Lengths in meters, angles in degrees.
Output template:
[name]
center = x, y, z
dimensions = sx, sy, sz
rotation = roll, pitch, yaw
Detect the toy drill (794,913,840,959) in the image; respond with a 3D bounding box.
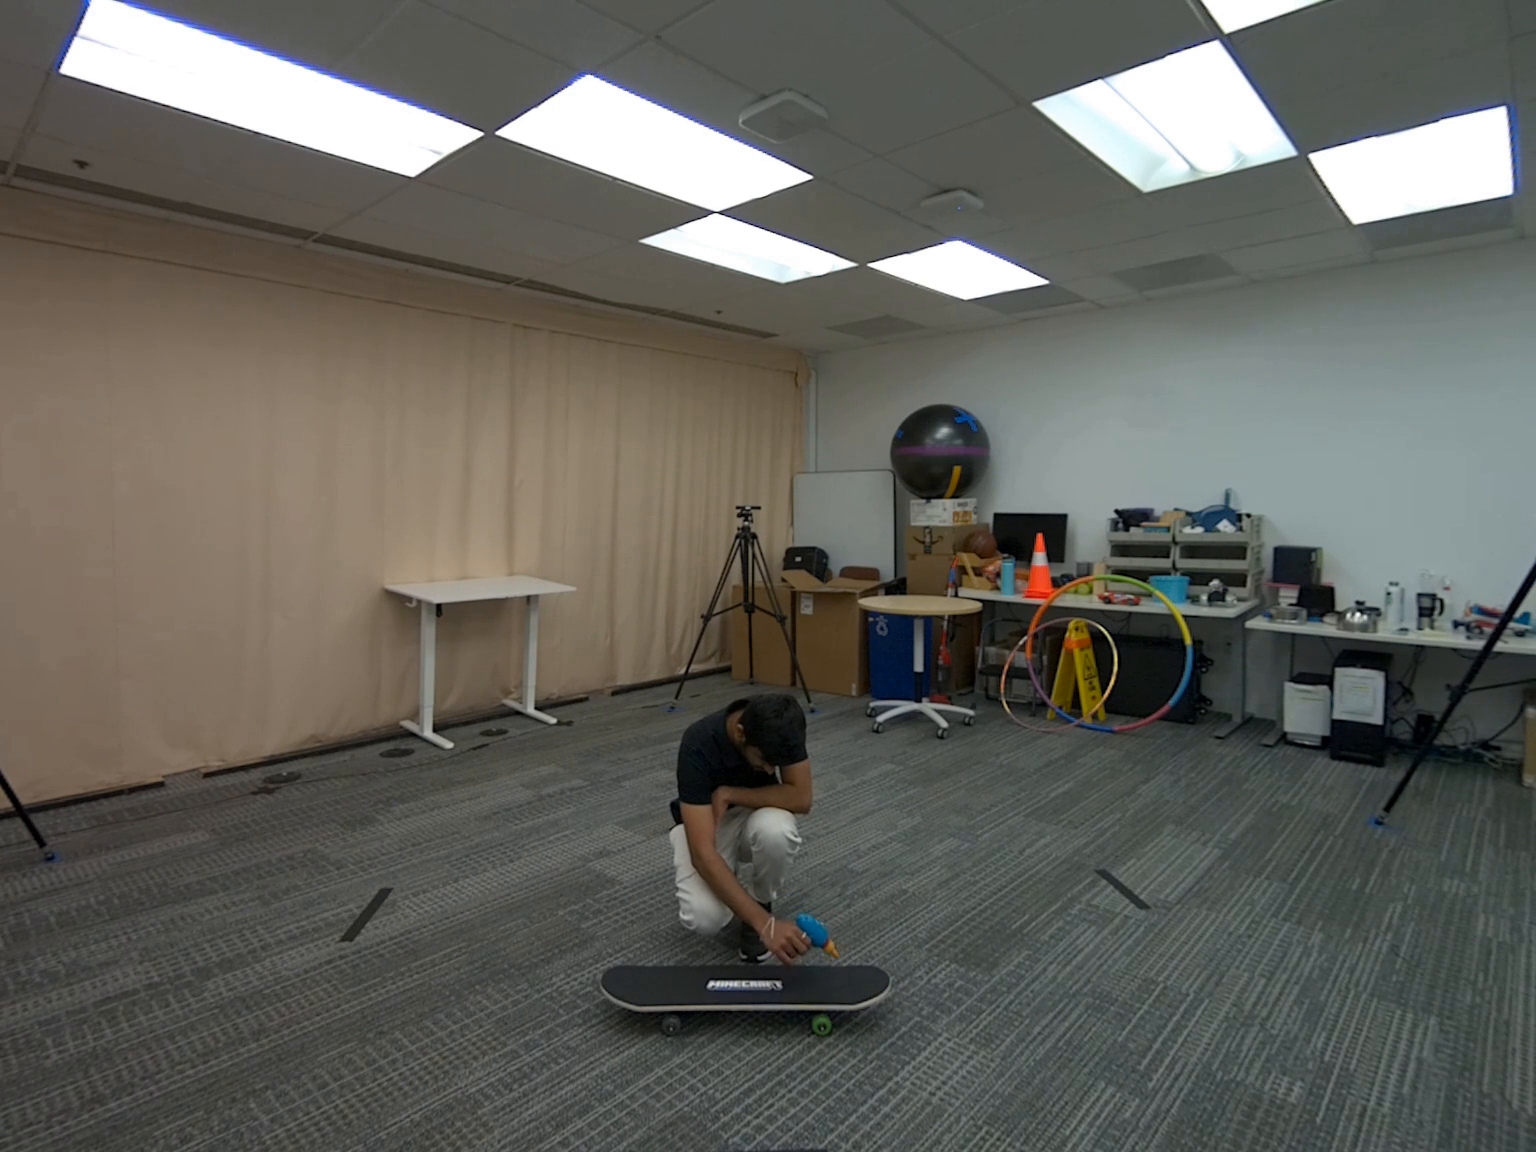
[toy drill]
center = 0.098, 1.008, 2.294
dimensions = 0.146, 0.169, 0.061
rotation = -37, 3, -4
